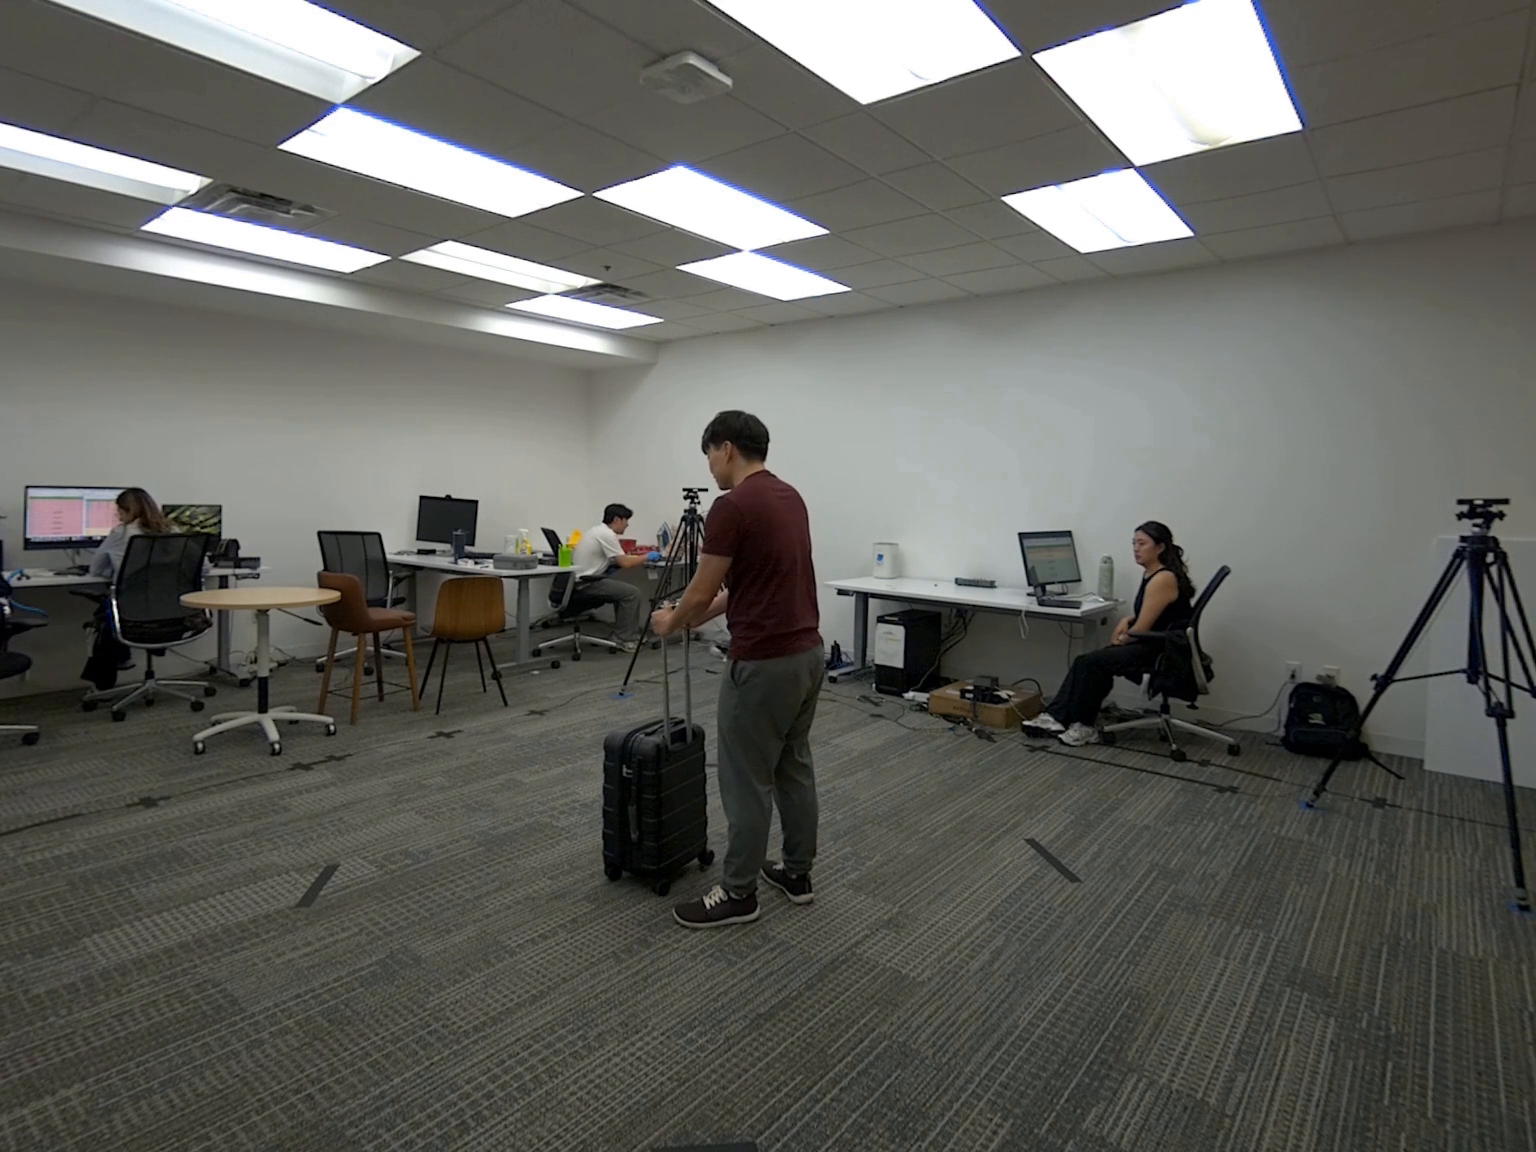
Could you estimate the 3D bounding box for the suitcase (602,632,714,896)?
[{"bbox_3d":[-0.425,0.595,3.061,0.264,0.976,0.374,-1,3,30],"label":"suitcase"}]
